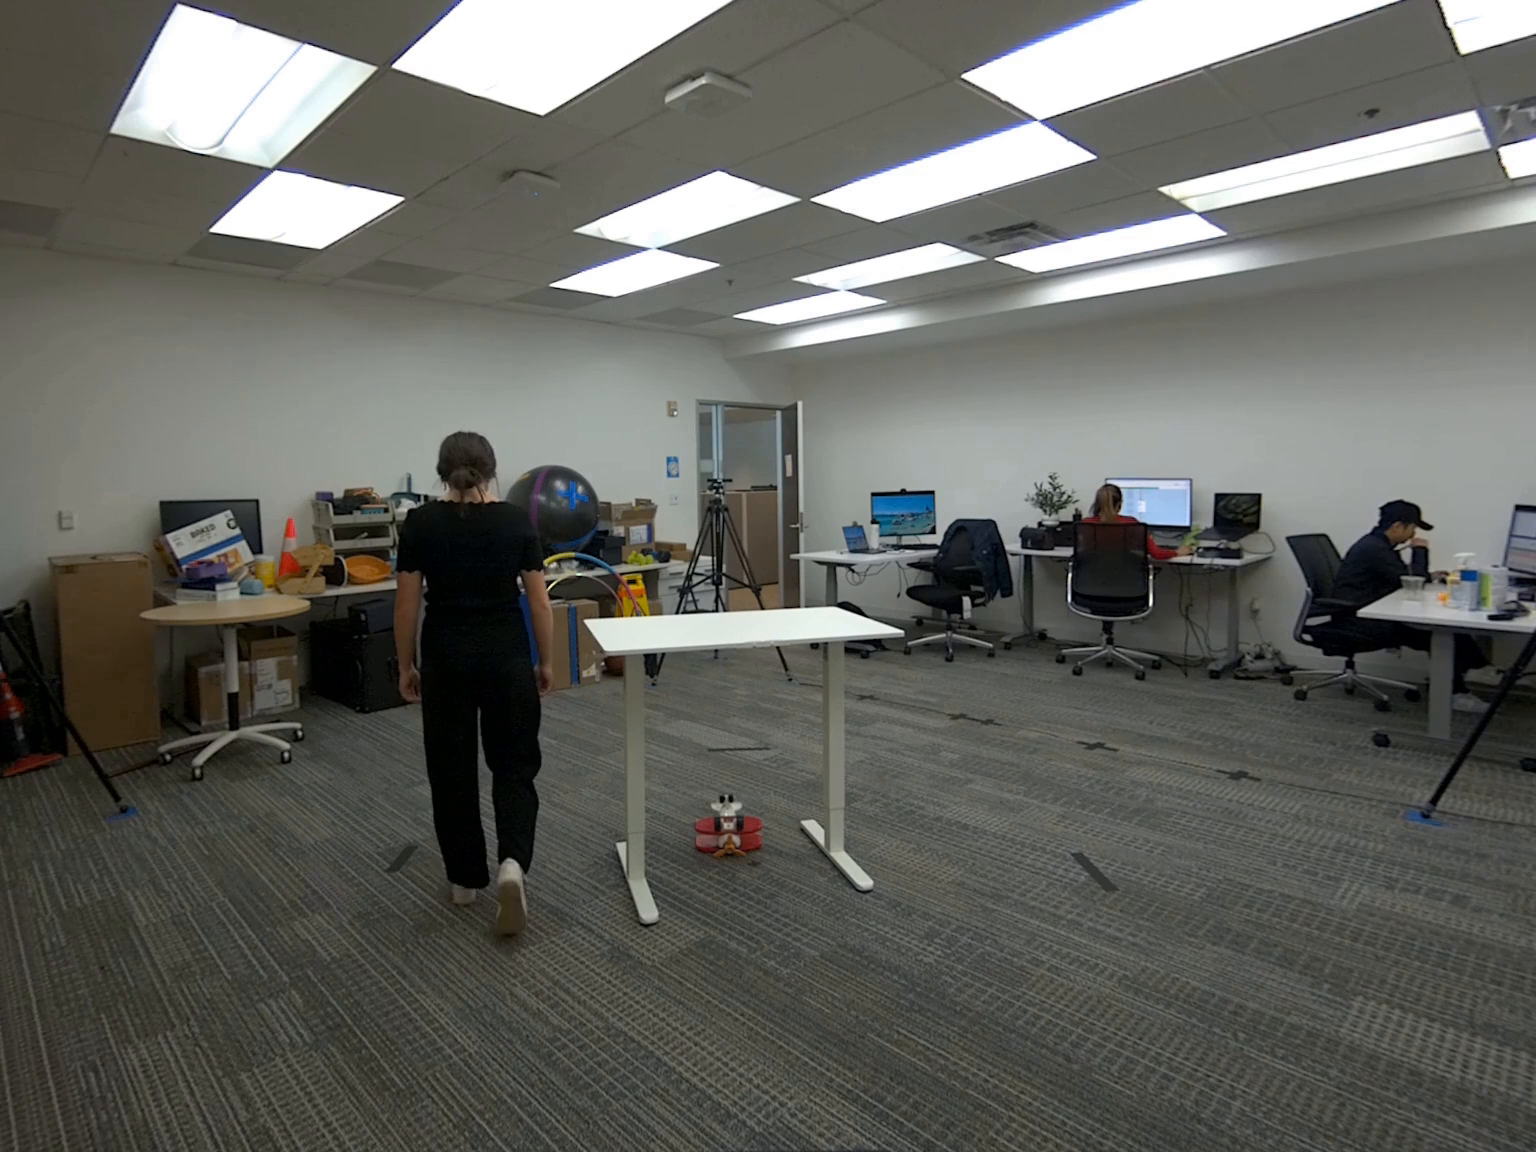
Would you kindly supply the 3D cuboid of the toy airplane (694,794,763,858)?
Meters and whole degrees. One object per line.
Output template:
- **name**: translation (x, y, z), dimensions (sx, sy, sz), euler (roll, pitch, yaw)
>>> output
- **toy airplane**: translation (-0.135, 0.947, 3.256), dimensions (0.257, 0.155, 0.255), euler (4, 10, 24)
